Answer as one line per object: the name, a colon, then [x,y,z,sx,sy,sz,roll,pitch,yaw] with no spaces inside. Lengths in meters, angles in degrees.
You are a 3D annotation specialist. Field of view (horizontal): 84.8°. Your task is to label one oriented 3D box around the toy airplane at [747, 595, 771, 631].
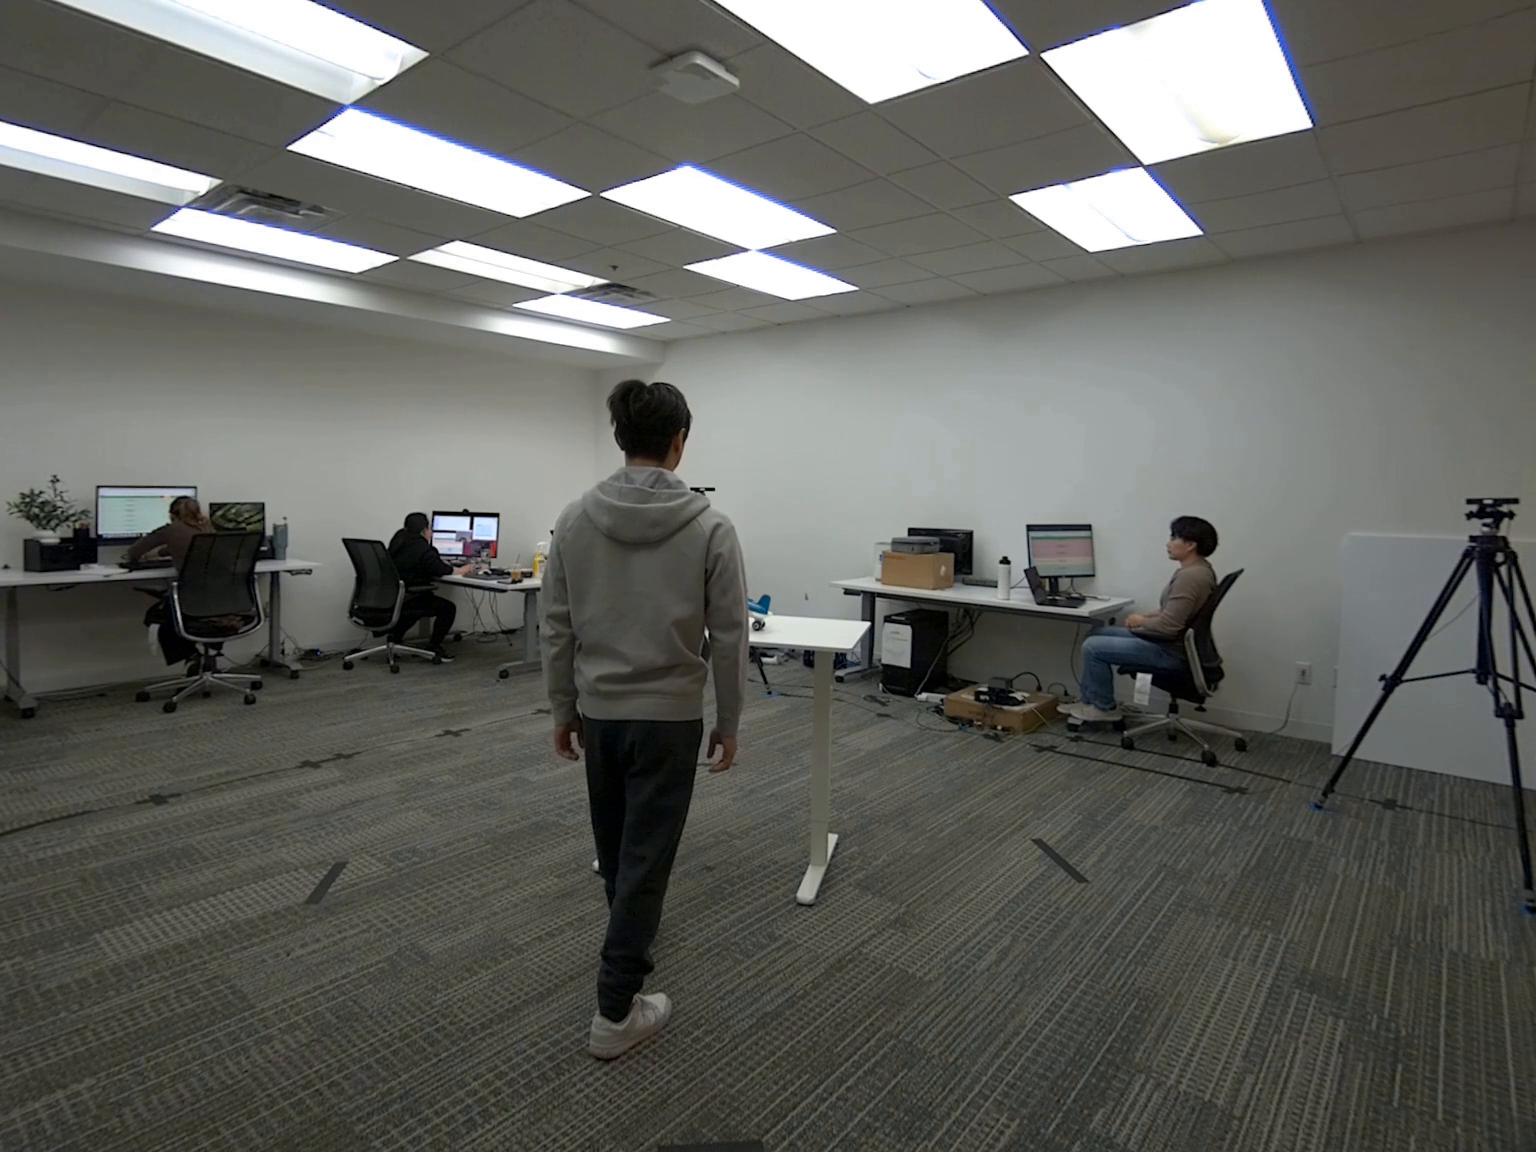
toy airplane: [-0.130,0.107,3.132,0.257,0.156,0.254,0,6,-7]
